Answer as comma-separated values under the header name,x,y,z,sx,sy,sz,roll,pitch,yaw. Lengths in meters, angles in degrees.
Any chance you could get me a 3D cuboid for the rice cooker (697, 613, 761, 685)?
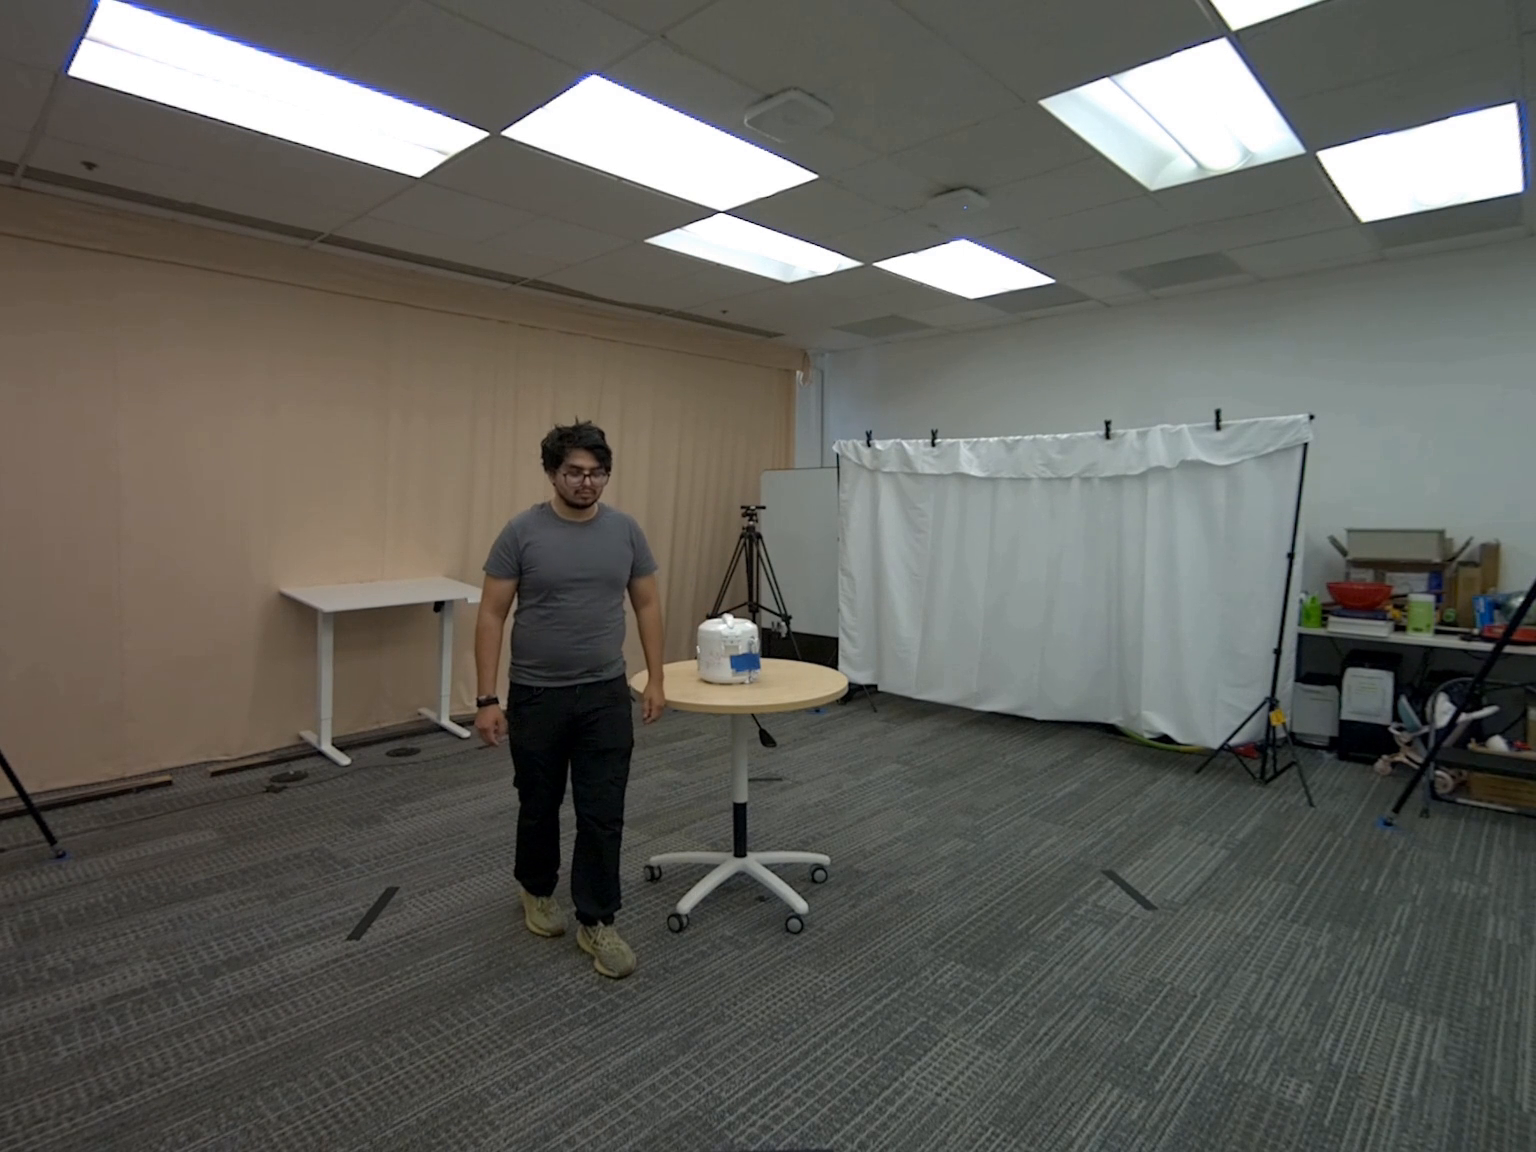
name,x,y,z,sx,sy,sz,roll,pitch,yaw
rice cooker,-0.140,0.249,2.956,0.216,0.232,0.223,-1,4,-8
